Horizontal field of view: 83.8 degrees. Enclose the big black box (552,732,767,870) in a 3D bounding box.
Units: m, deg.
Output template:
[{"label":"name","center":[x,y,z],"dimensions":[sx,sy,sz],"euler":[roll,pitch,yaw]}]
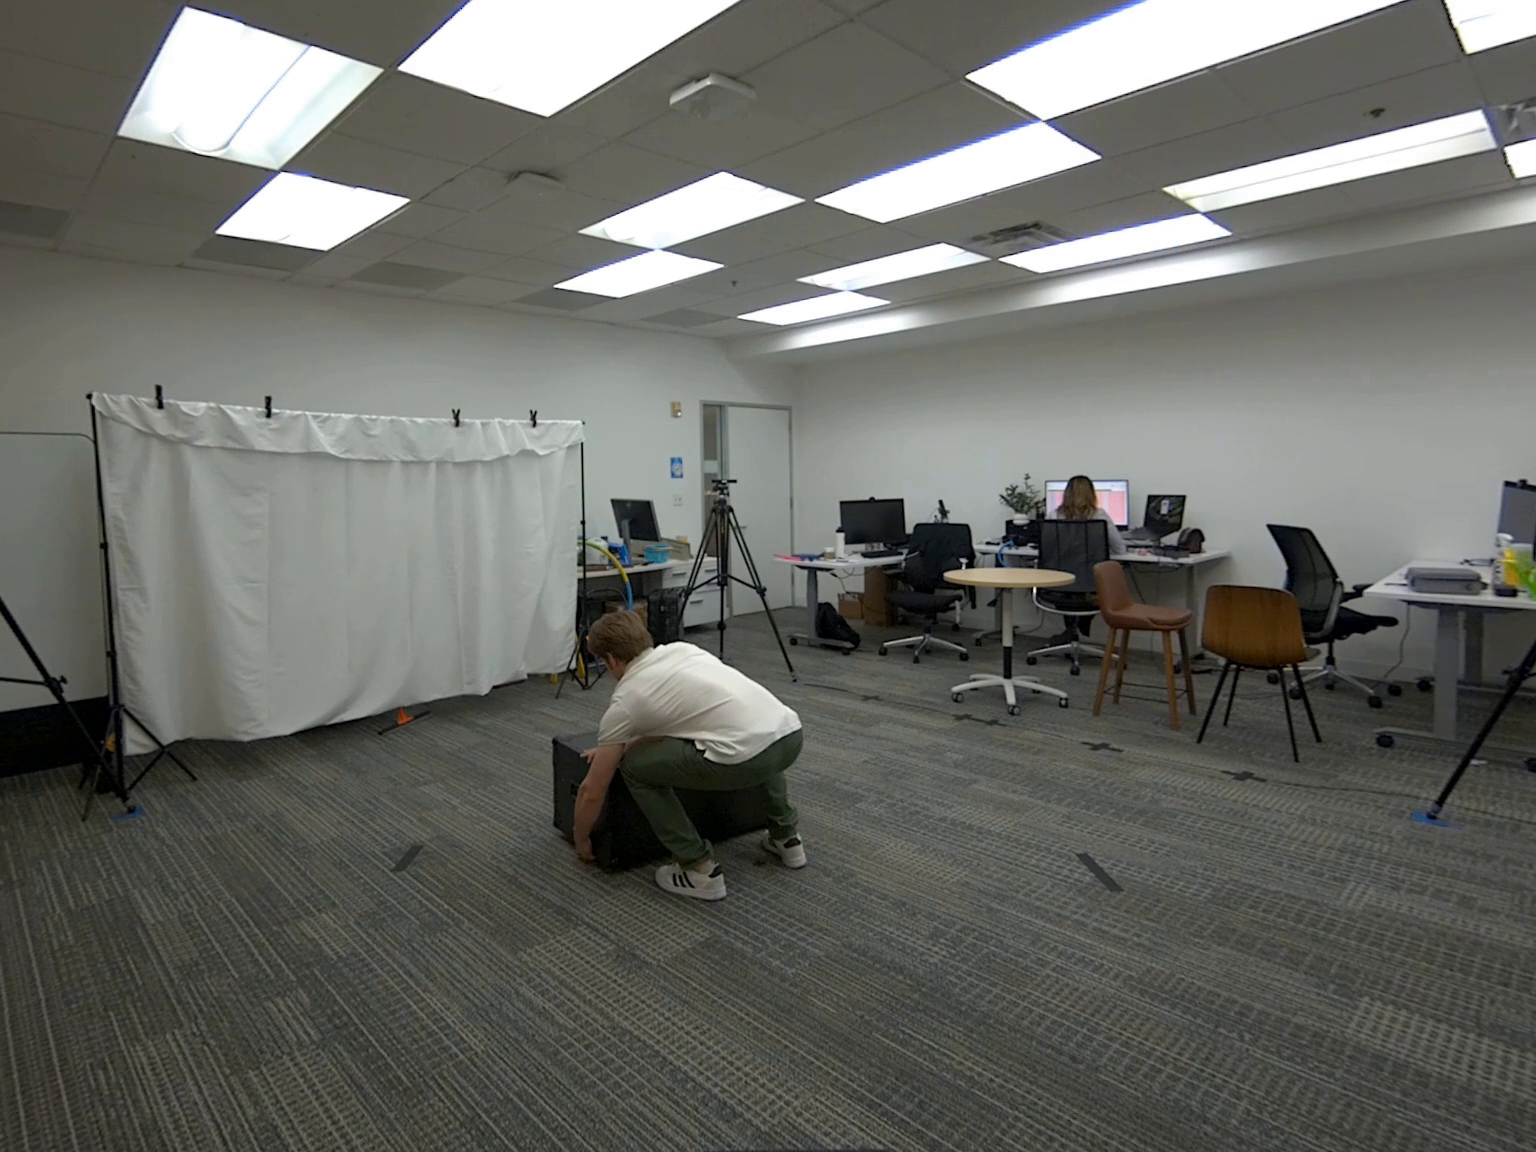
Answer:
[{"label":"big black box","center":[-0.366,0.815,3.433],"dimensions":[0.846,0.384,0.538],"euler":[-4,5,-35]}]
